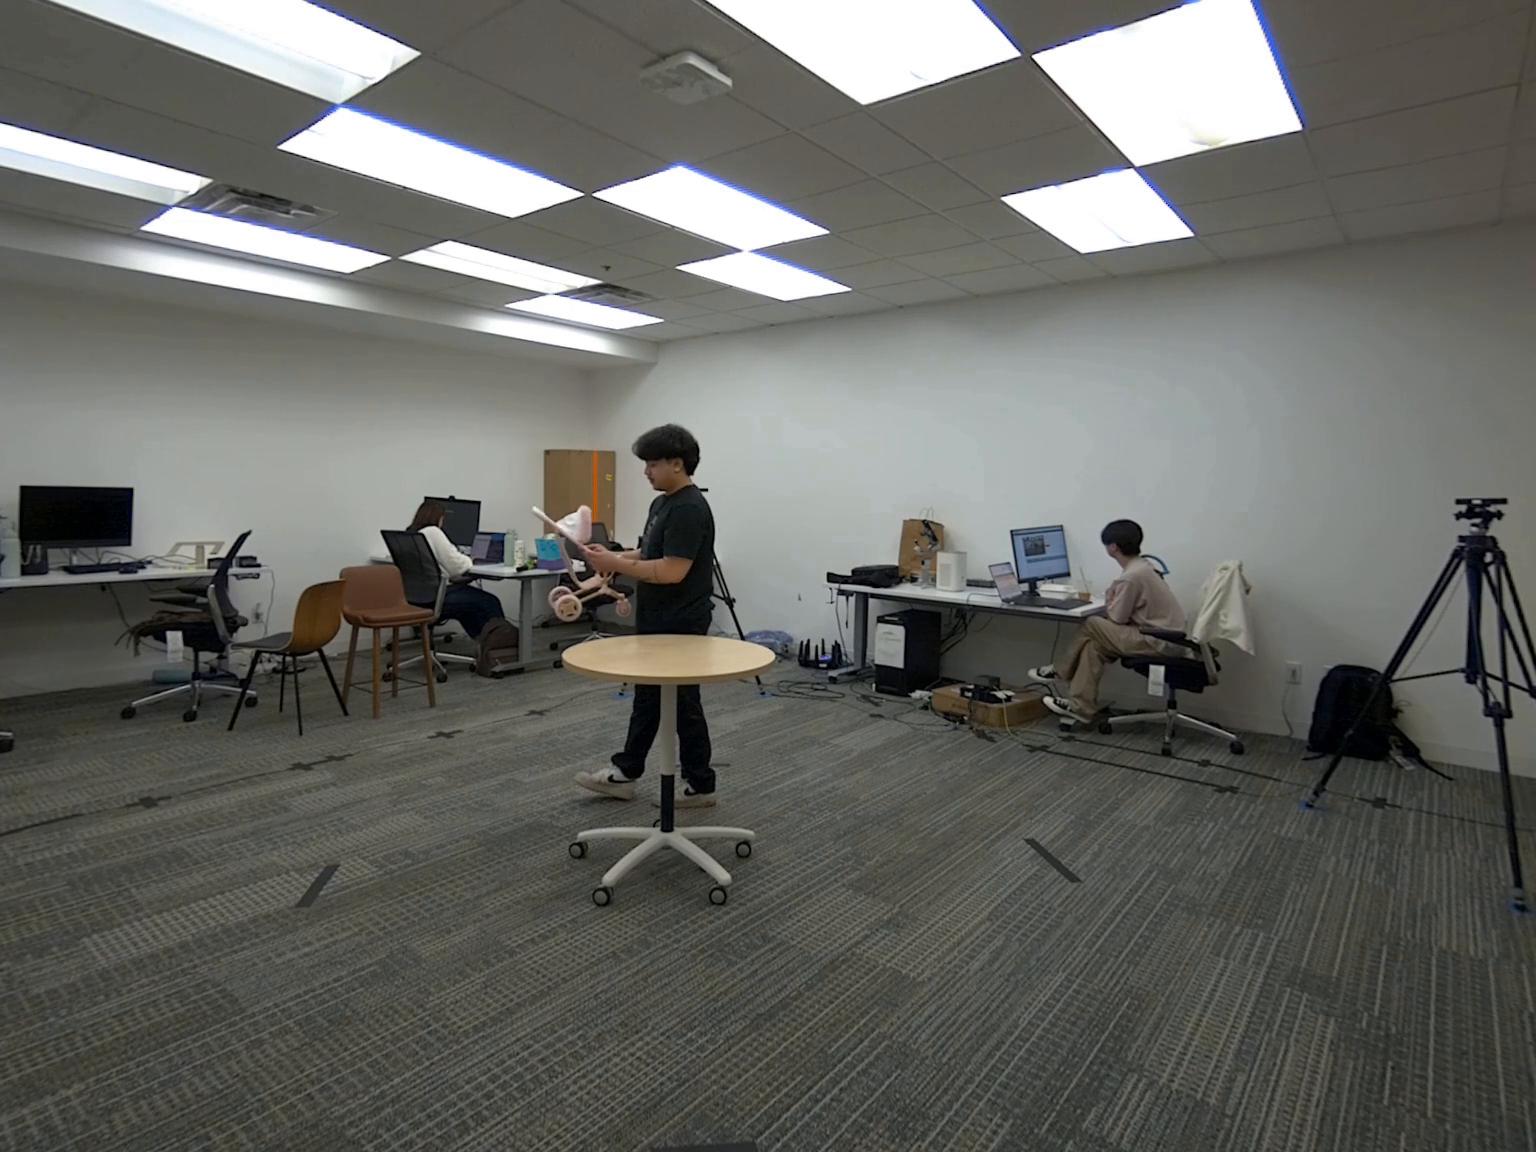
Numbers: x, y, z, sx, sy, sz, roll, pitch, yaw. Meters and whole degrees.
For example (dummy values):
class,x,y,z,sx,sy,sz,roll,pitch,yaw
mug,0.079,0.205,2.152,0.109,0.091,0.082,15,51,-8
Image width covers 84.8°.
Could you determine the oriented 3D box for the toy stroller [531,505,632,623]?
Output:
class,x,y,z,sx,sy,sz,roll,pitch,yaw
toy stroller,-0.798,-0.059,3.608,0.338,0.530,0.287,-11,9,-12
